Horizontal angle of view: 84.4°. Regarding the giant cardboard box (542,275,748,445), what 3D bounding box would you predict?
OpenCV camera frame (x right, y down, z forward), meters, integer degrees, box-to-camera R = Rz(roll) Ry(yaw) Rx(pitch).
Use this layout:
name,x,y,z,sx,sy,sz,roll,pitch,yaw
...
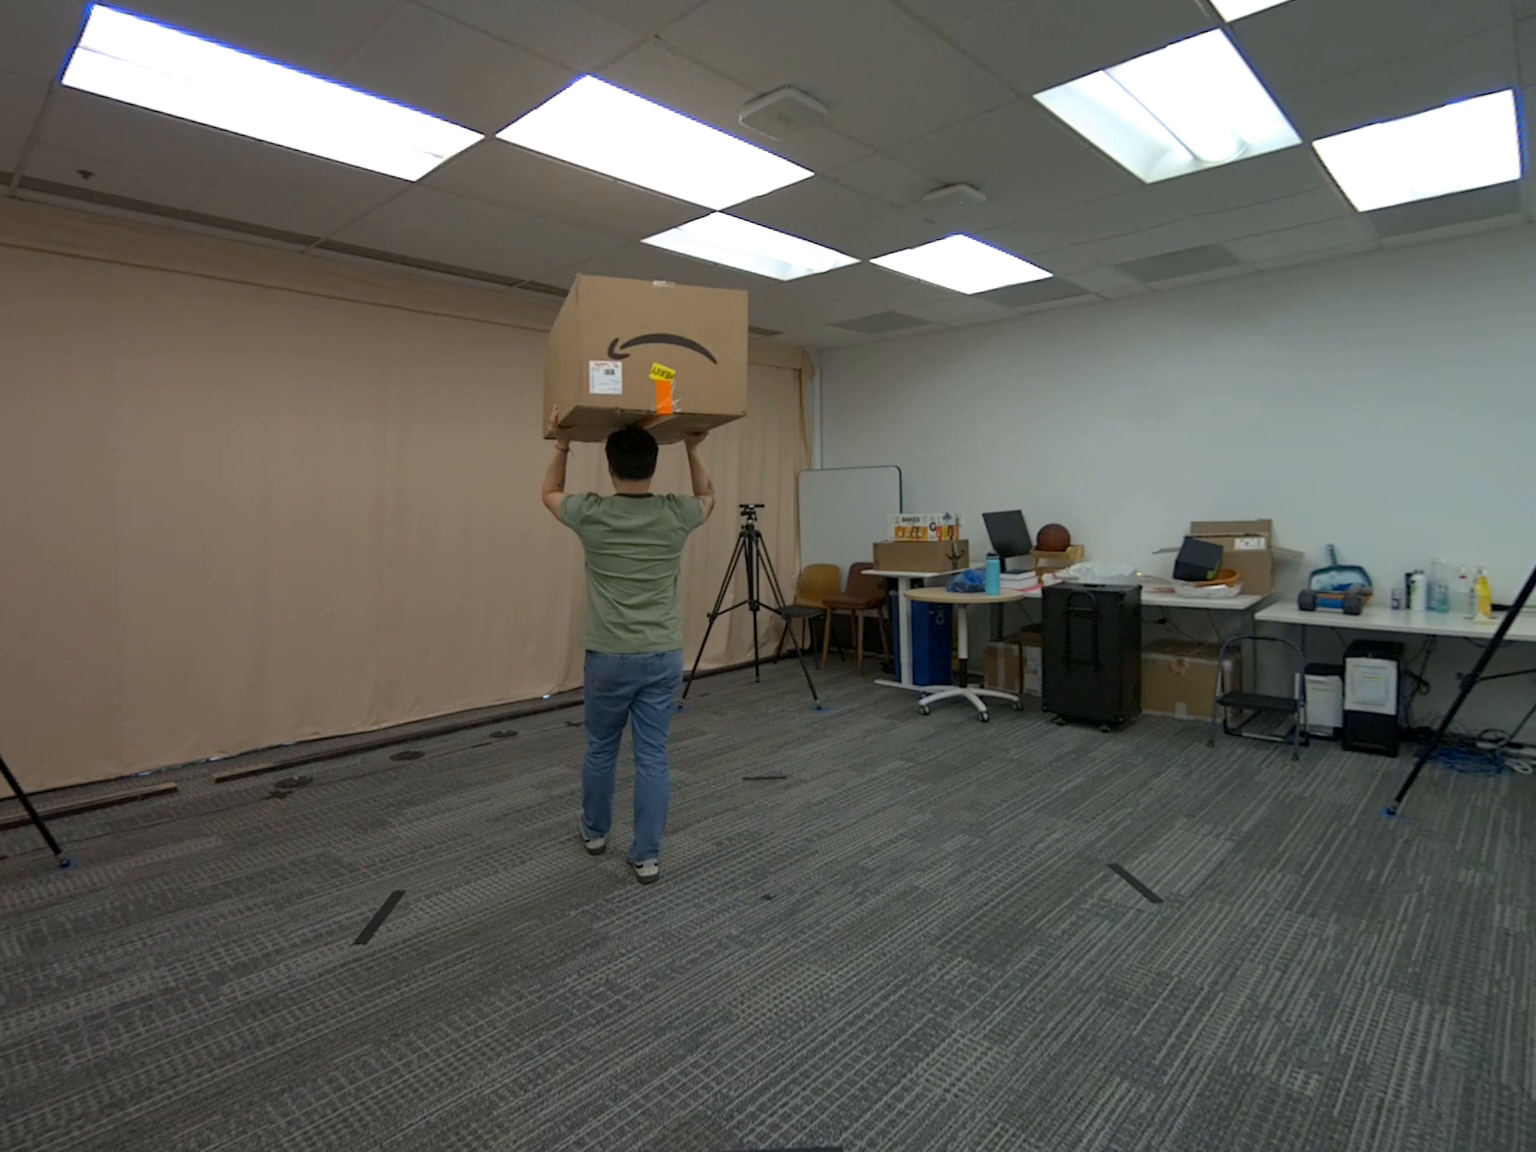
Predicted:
name,x,y,z,sx,sy,sz,roll,pitch,yaw
giant cardboard box,-0.516,-0.770,3.223,0.566,0.425,1.047,0,3,-20
